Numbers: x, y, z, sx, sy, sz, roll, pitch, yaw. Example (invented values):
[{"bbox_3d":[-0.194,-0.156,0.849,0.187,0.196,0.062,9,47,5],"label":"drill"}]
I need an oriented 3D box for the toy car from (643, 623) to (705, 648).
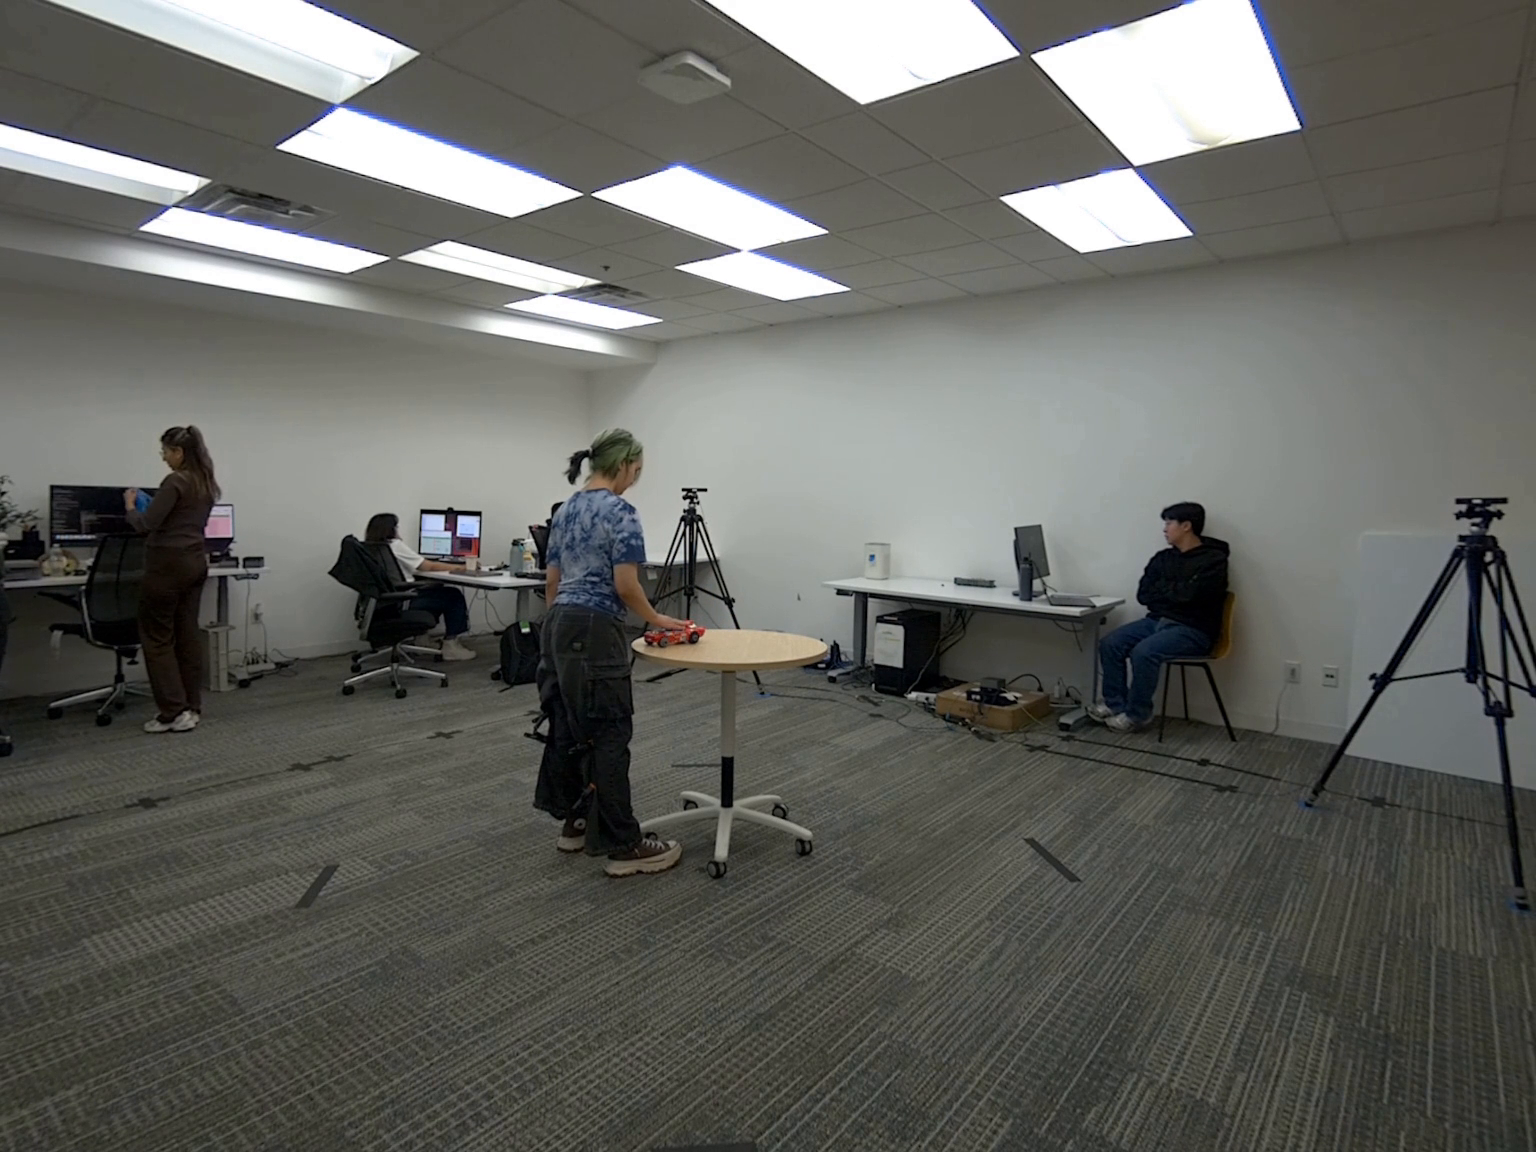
[{"bbox_3d":[-0.373,0.234,3.345,0.249,0.082,0.134,-18,14,-37],"label":"toy car"}]
